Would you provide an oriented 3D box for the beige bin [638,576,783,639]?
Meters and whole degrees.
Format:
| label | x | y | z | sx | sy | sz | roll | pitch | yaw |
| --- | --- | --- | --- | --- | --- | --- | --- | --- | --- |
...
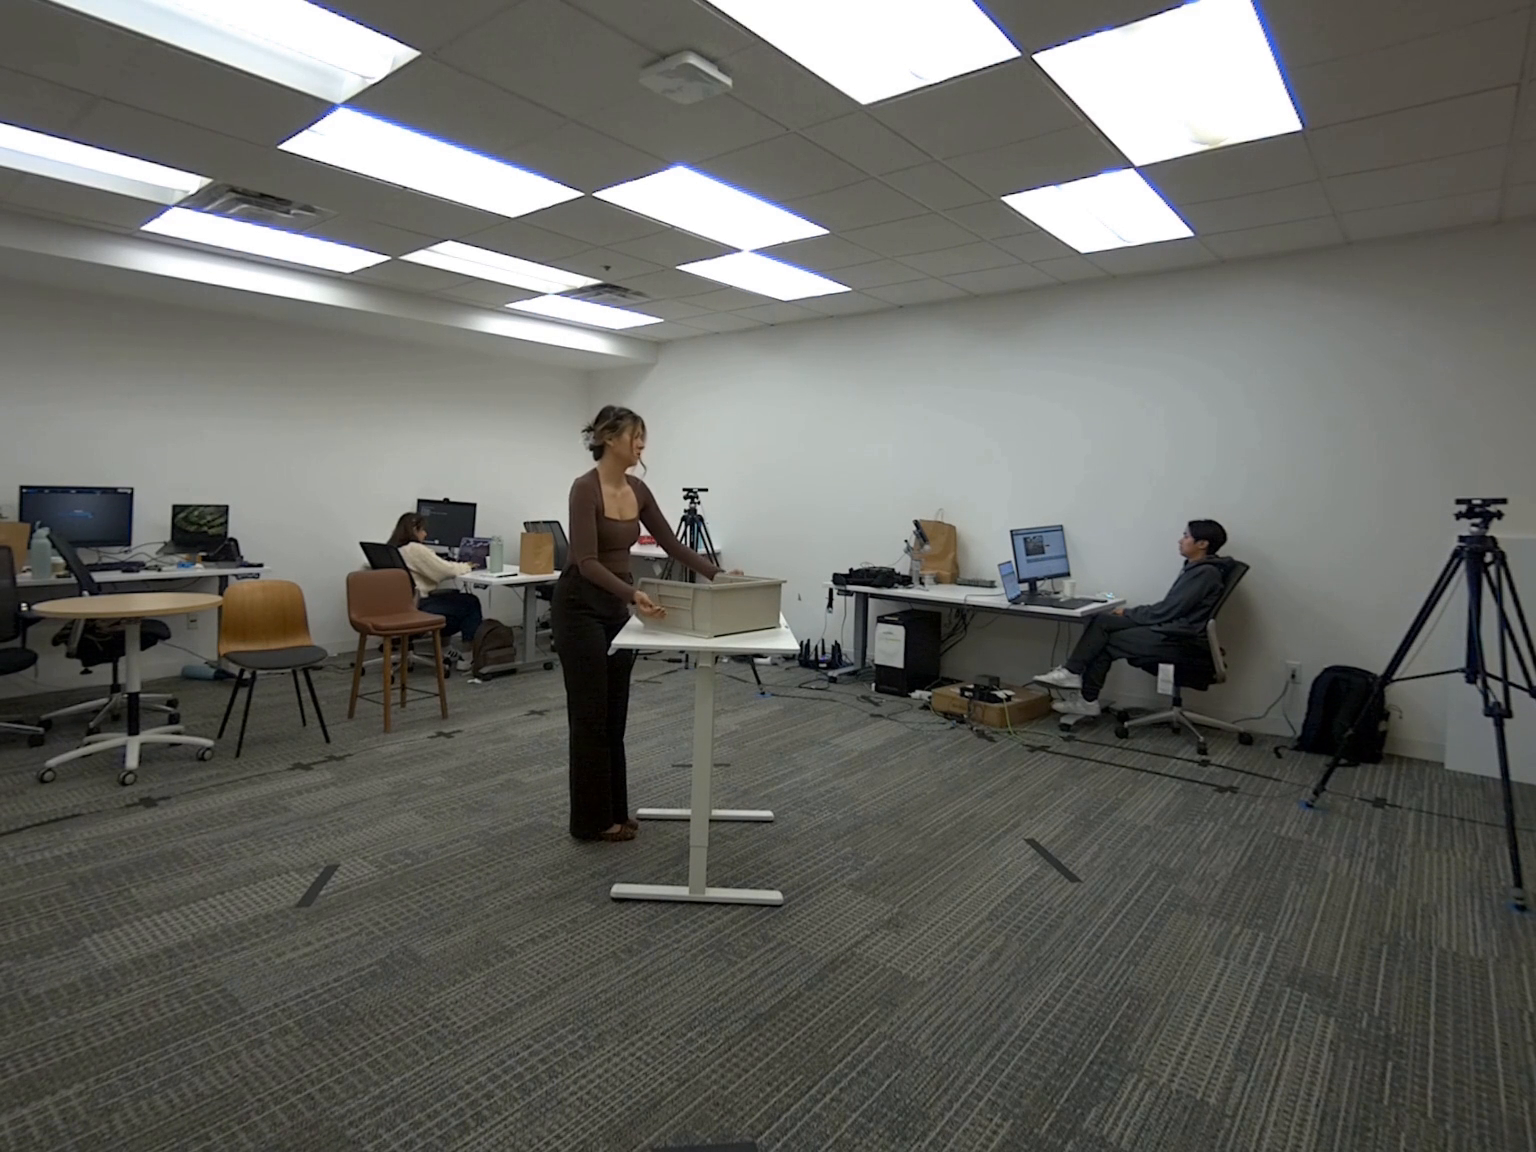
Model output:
| label | x | y | z | sx | sy | sz | roll | pitch | yaw |
| --- | --- | --- | --- | --- | --- | --- | --- | --- | --- |
| beige bin | -0.221 | 0.099 | 3.106 | 0.390 | 0.188 | 0.409 | 7 | 6 | 40 |
